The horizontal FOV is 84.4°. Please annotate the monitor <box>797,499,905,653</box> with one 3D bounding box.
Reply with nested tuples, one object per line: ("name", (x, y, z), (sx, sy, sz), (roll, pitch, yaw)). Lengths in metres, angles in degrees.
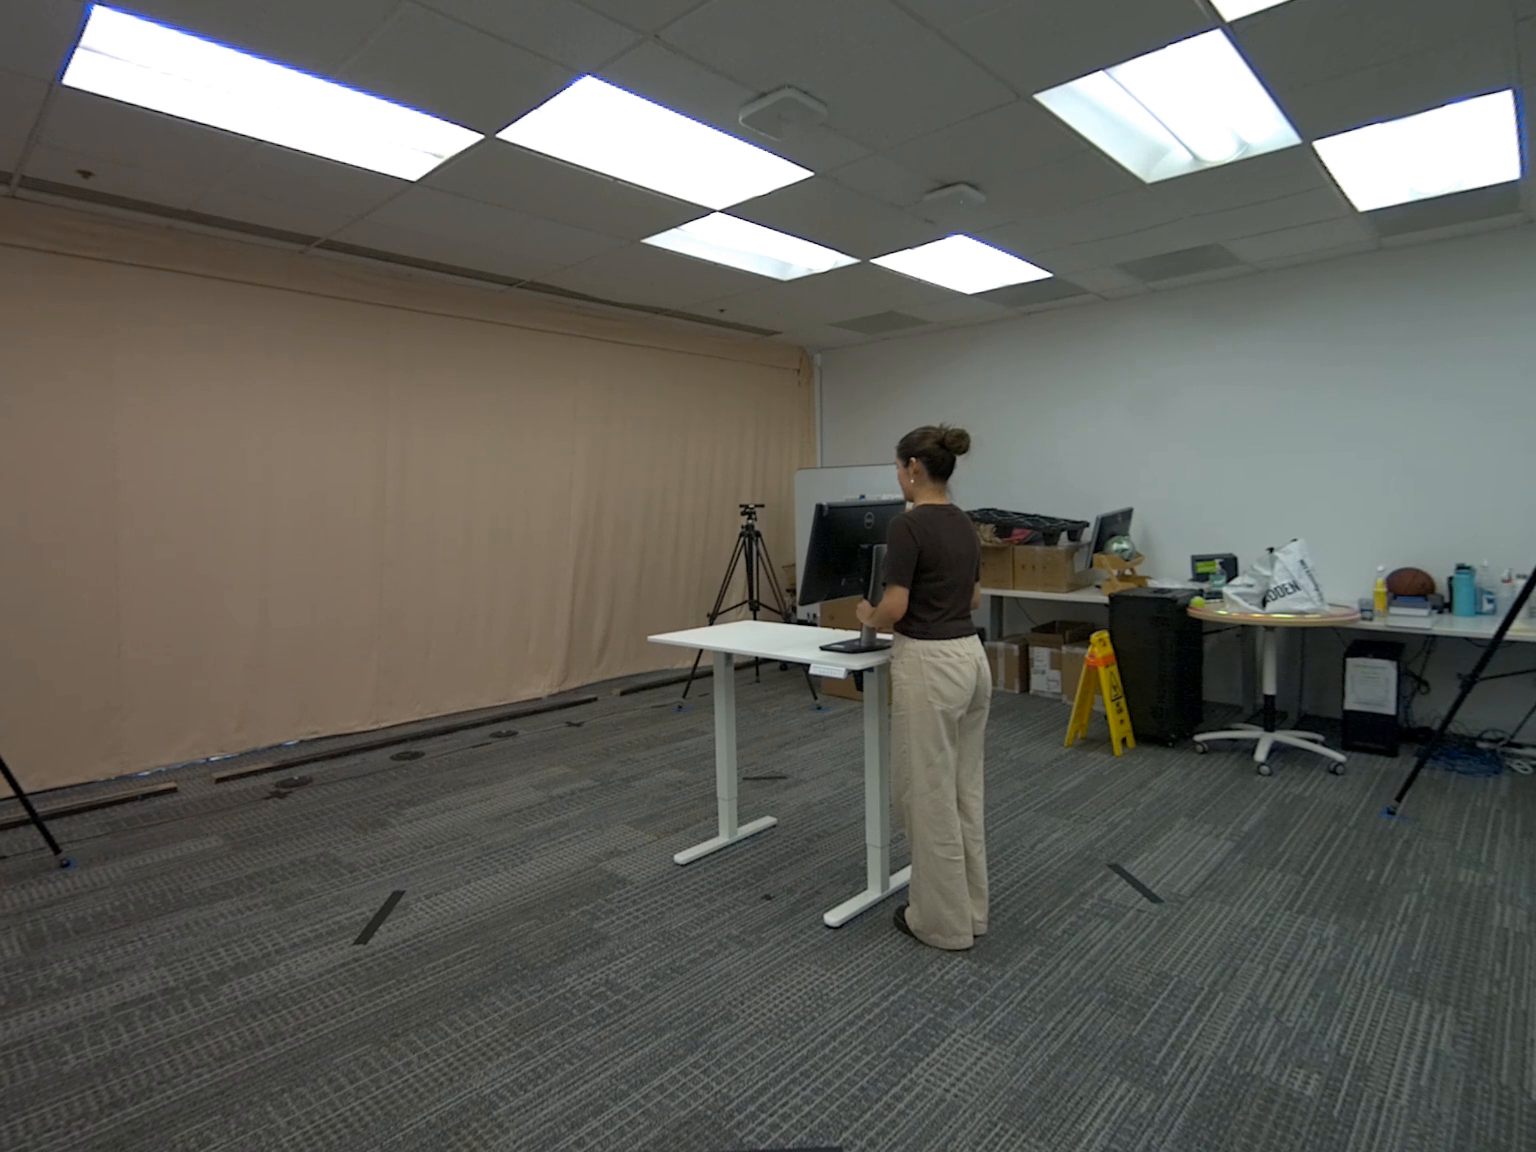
("monitor", (0.332, -0.005, 2.948), (0.180, 0.515, 0.514), (-2, 4, 41))
